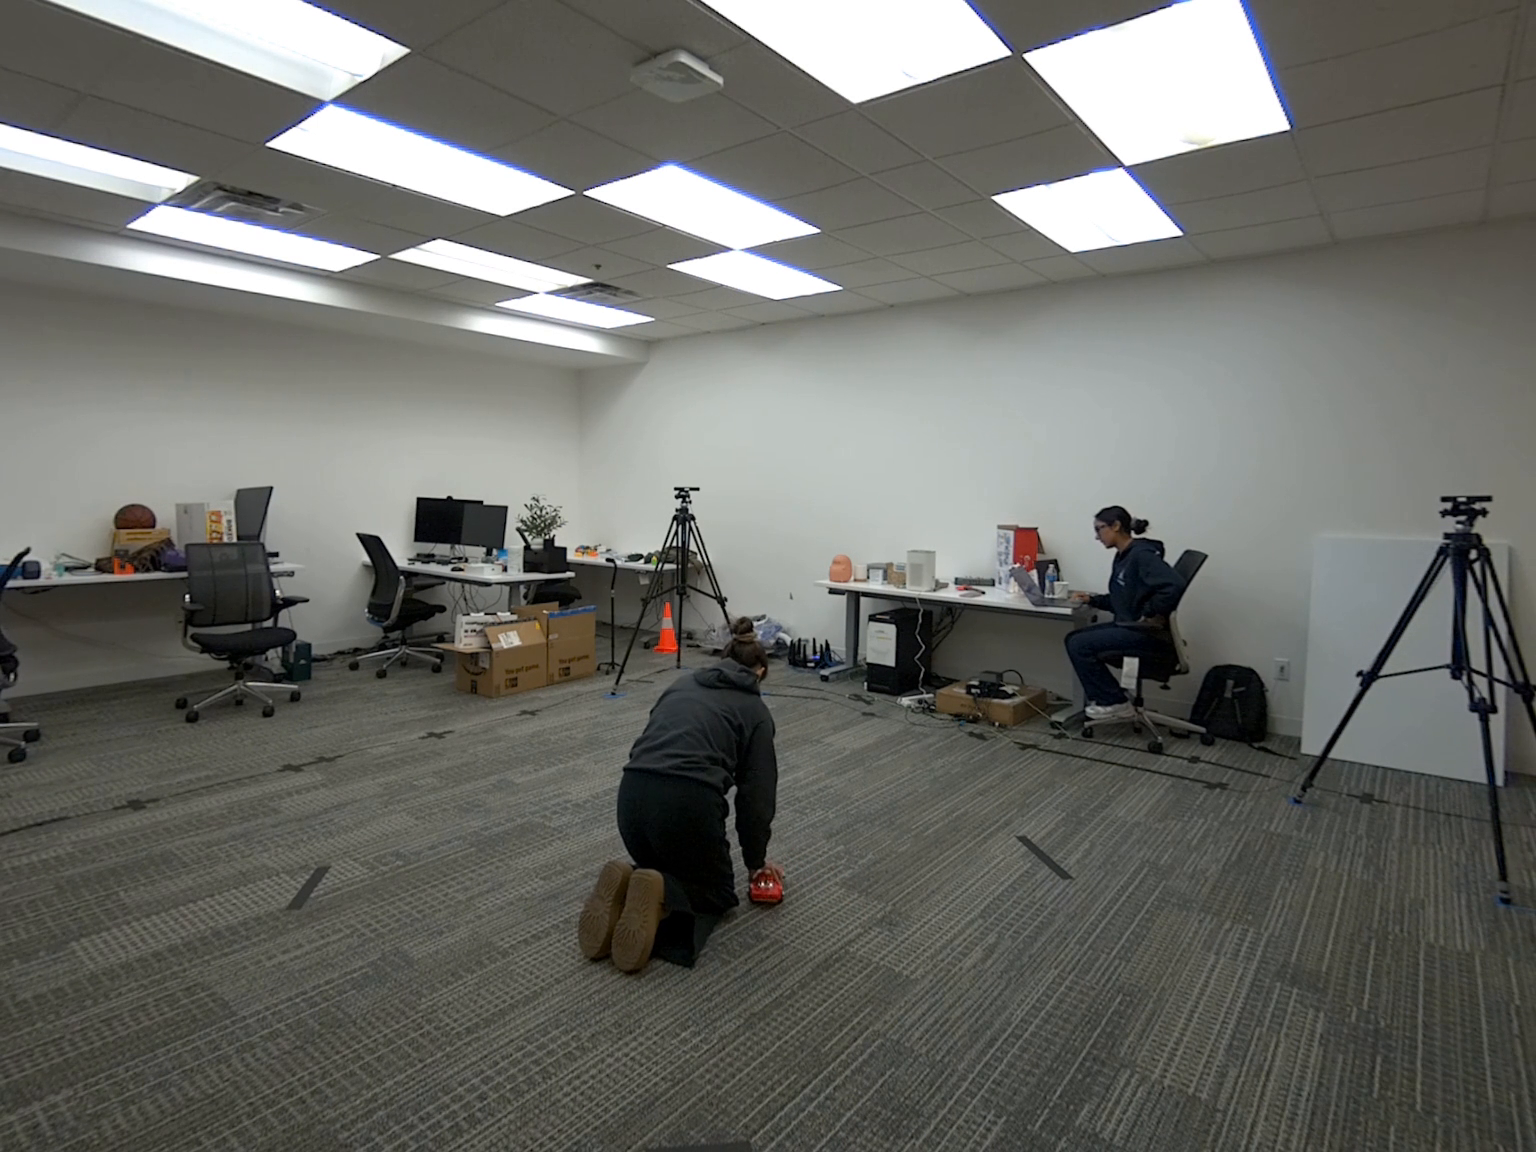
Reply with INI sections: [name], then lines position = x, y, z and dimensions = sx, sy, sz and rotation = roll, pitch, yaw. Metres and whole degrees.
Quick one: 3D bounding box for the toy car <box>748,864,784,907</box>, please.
[toy car]
position = -0.009, 1.059, 2.924
dimensions = 0.130, 0.084, 0.253
rotation = 3, -5, -1
